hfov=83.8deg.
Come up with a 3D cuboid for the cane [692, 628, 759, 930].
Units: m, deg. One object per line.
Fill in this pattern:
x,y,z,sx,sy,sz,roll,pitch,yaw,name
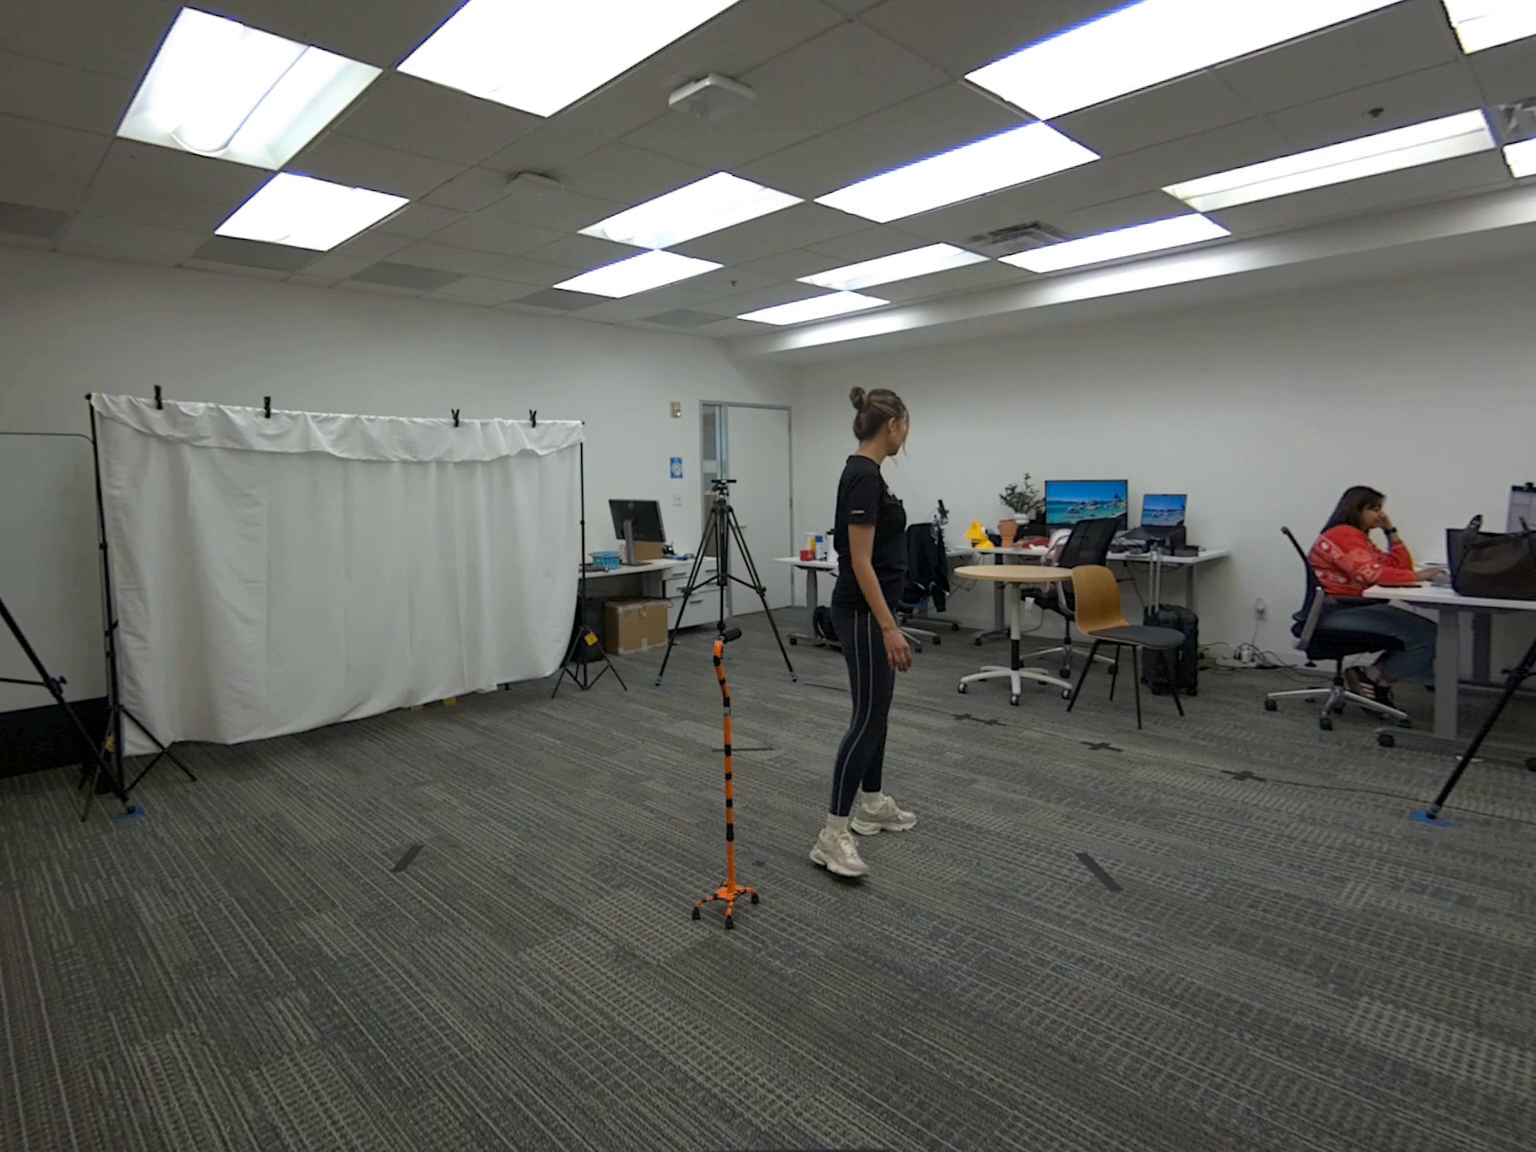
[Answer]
-0.141,0.633,2.749,0.155,0.905,0.203,0,4,24,cane
